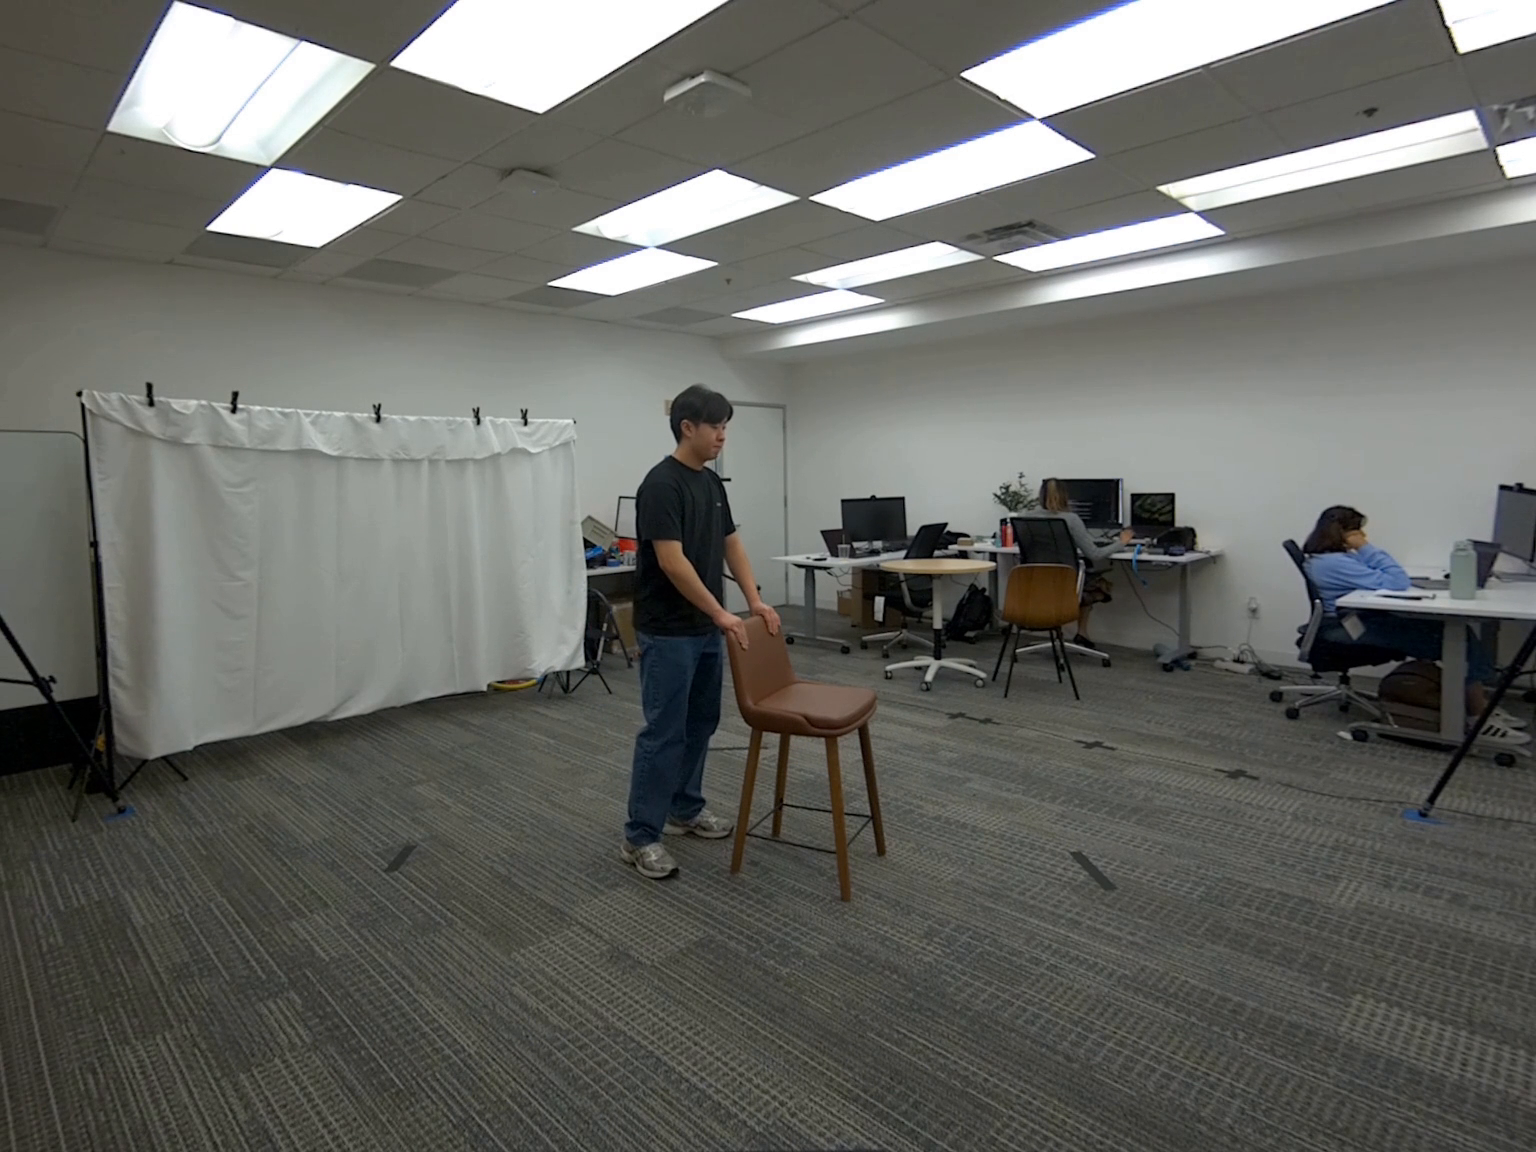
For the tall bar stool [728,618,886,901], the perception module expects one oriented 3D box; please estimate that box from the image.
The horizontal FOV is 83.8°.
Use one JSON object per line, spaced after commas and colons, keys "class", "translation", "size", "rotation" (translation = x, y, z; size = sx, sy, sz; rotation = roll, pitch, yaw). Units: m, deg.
{"class": "tall bar stool", "translation": [0.135, 0.602, 3.065], "size": [0.479, 0.888, 0.447], "rotation": [-1, 3, 28]}
